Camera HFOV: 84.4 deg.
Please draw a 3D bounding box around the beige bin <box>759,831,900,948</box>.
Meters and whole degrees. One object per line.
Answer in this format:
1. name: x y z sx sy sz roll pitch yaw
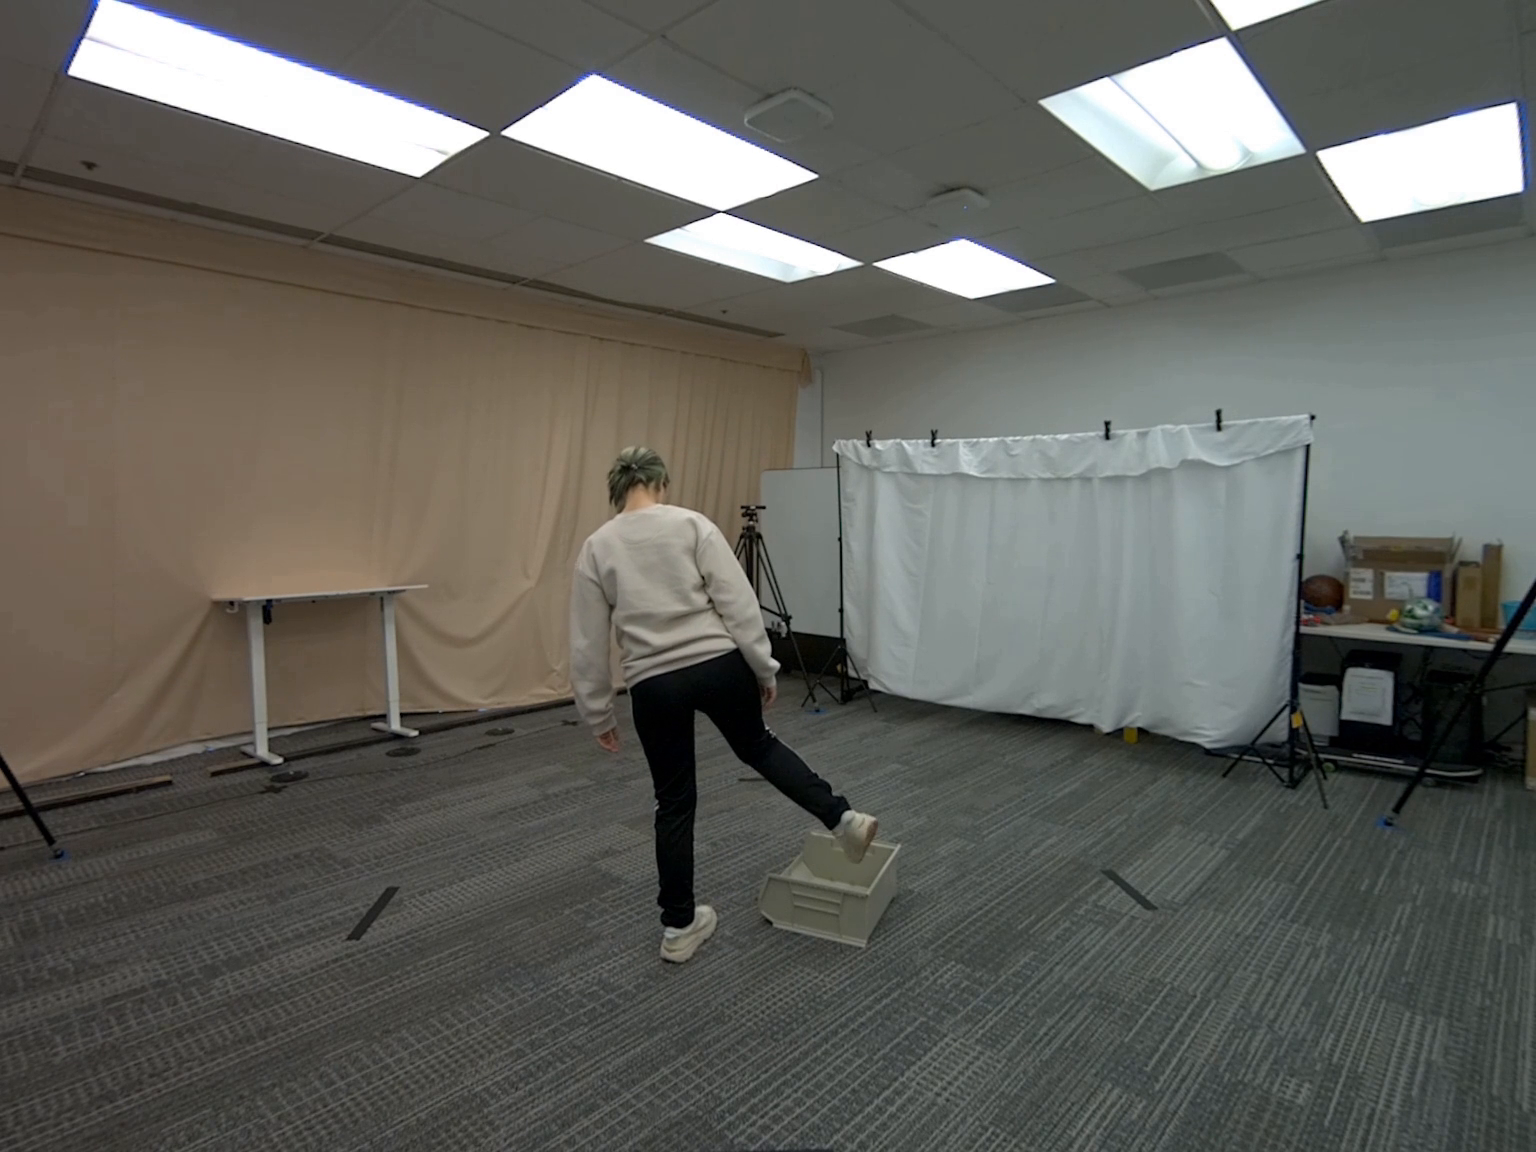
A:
1. beige bin: 0.222 1.057 2.902 0.387 0.188 0.413 3 5 24
